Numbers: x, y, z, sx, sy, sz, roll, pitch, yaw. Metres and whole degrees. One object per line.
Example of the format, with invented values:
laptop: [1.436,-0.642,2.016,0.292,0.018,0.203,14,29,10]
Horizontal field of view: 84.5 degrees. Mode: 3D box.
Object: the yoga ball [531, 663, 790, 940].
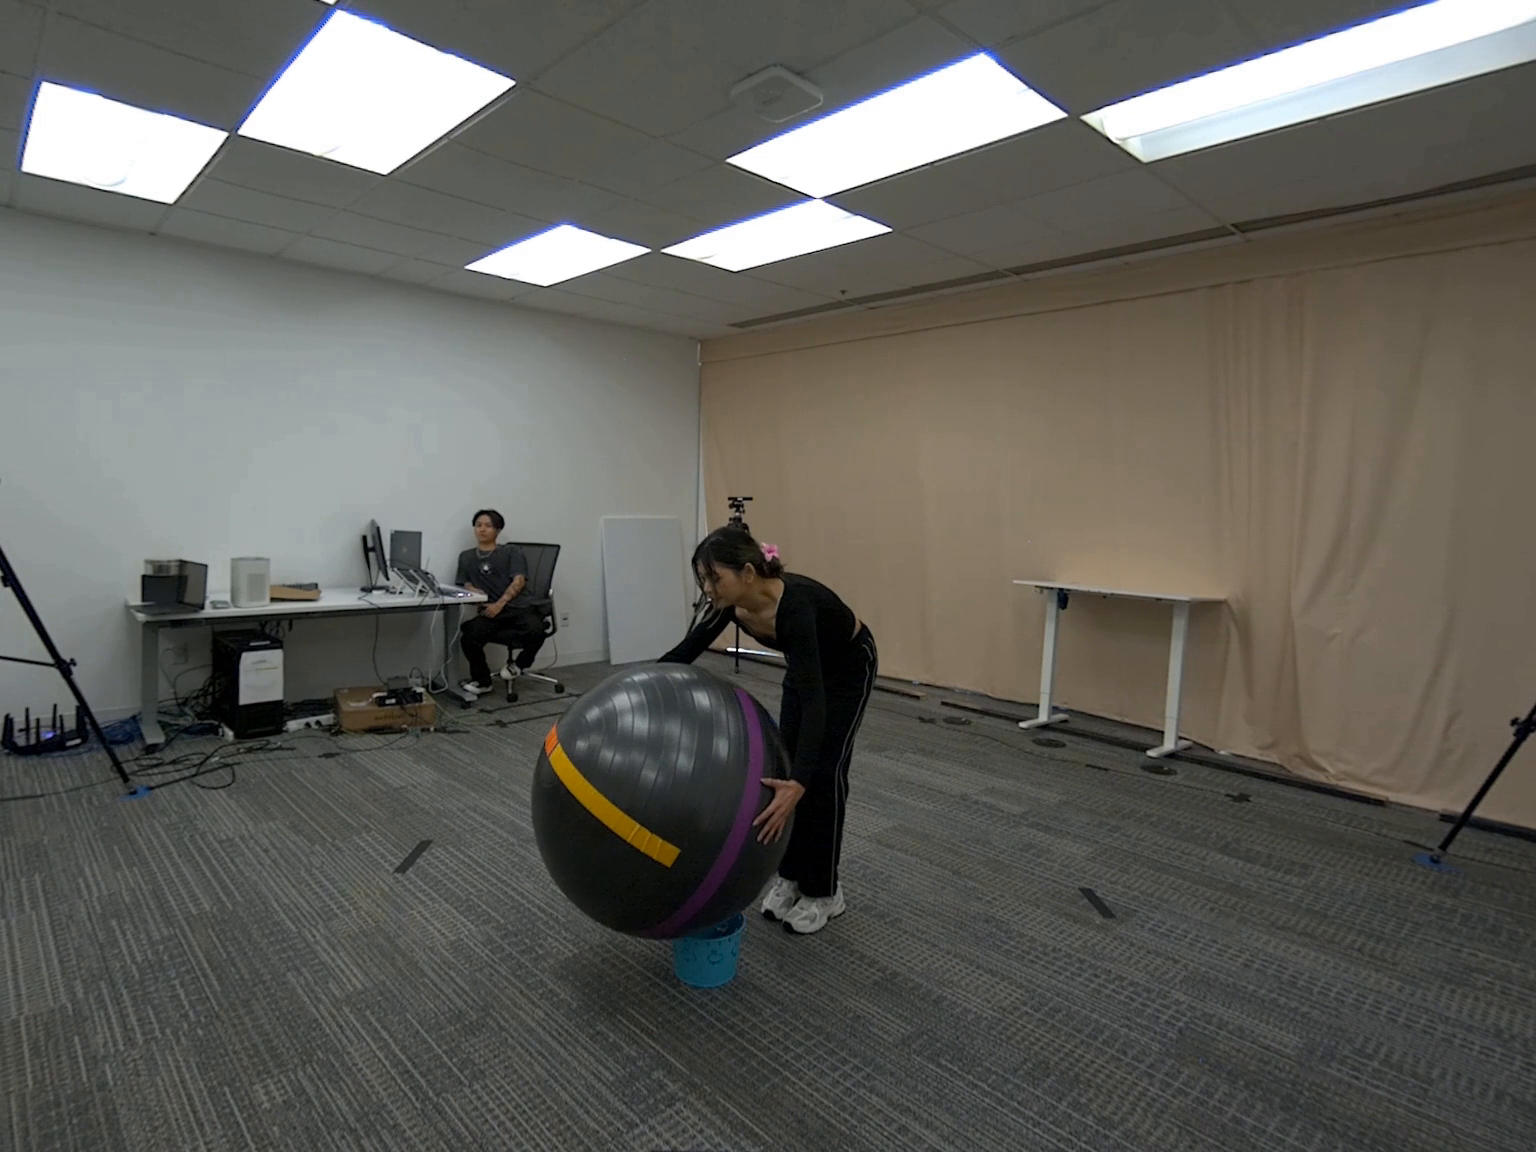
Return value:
yoga ball: [-0.306,0.639,2.416,0.757,0.756,0.761,1,4,-1]
